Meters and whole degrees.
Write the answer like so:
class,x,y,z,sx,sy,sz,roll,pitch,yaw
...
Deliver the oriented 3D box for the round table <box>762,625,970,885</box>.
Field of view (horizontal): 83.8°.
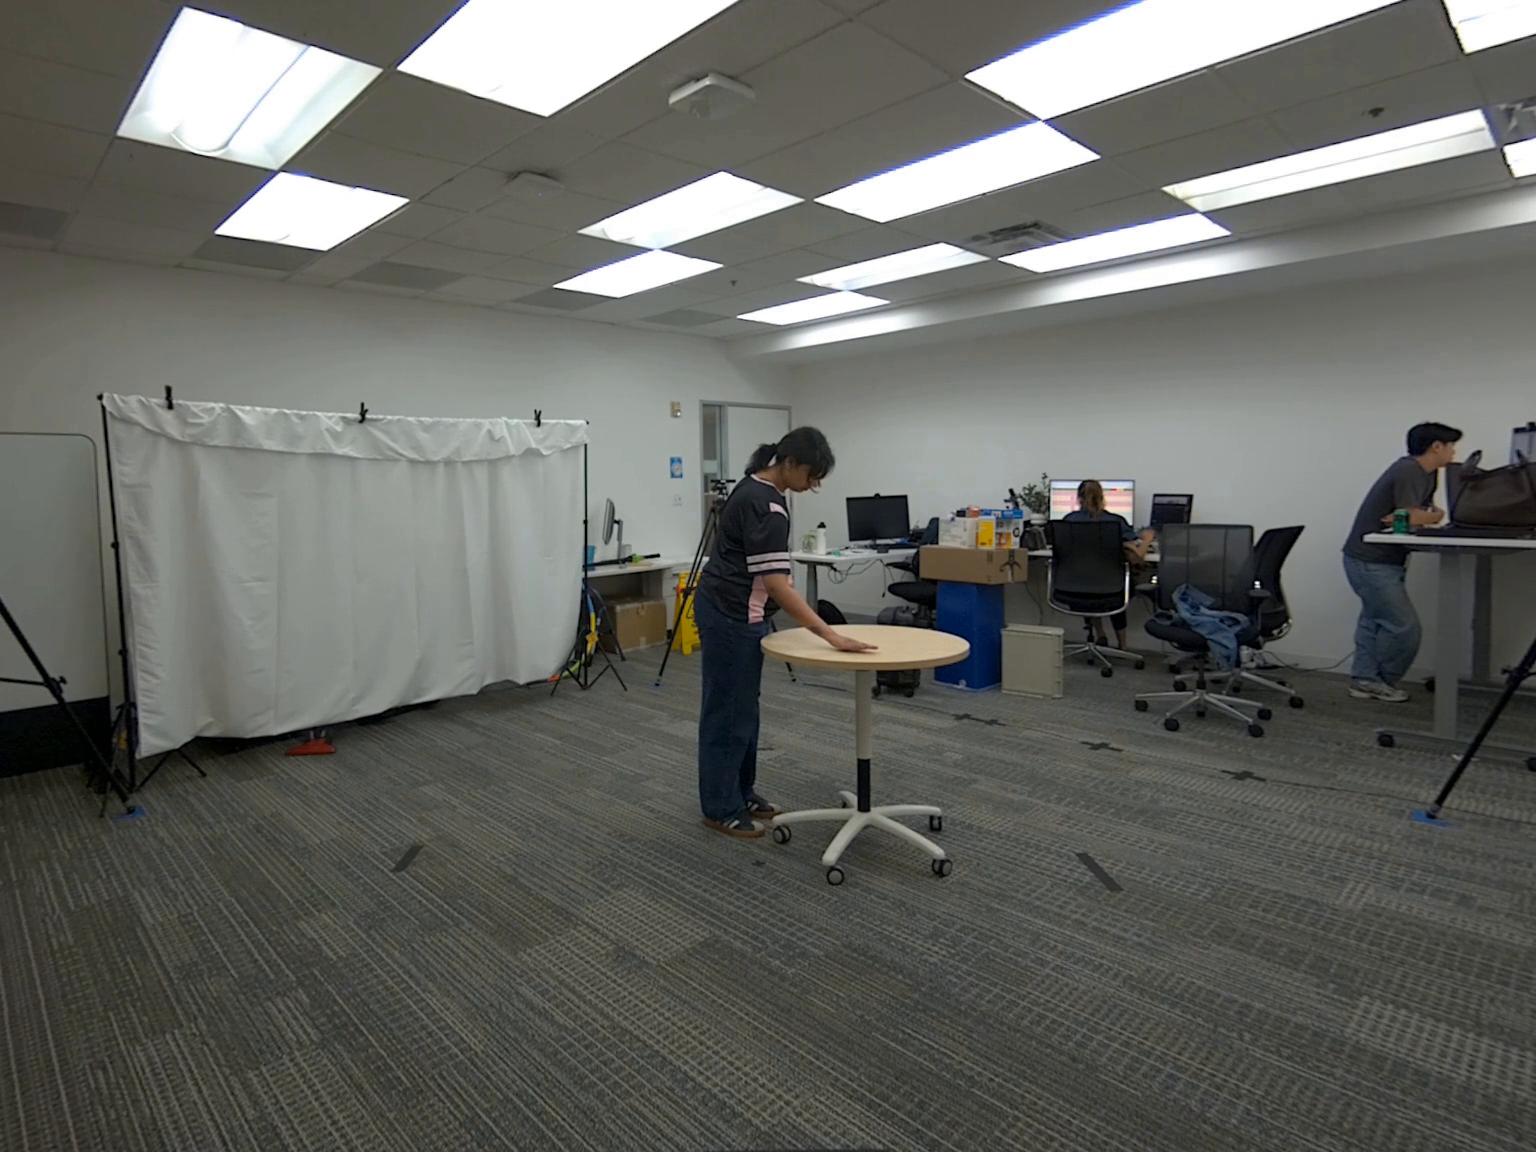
class,x,y,z,sx,sy,sz,roll,pitch,yaw
round table,0.371,0.635,3.221,0.784,0.783,0.789,-1,5,-2
